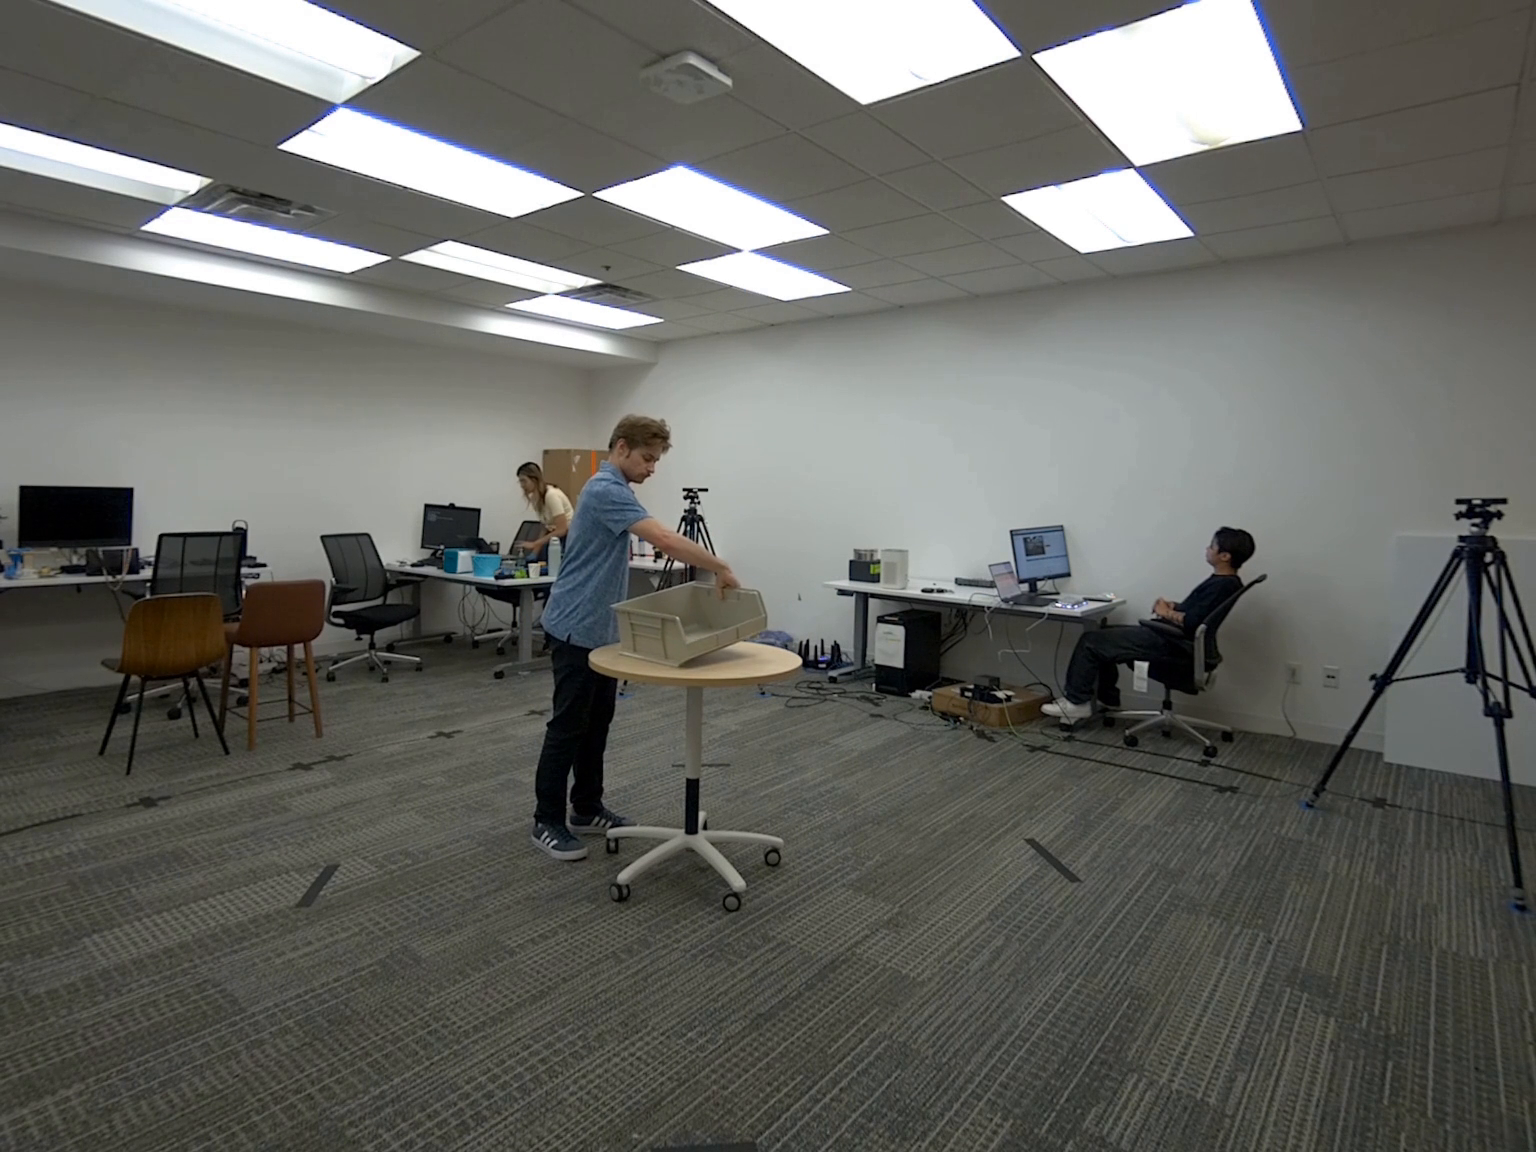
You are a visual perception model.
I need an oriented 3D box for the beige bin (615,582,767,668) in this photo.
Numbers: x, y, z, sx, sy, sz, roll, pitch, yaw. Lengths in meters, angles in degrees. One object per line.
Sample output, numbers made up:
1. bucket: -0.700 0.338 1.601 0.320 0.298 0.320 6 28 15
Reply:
1. beige bin: -0.288 0.165 3.068 0.390 0.187 0.412 5 15 43
